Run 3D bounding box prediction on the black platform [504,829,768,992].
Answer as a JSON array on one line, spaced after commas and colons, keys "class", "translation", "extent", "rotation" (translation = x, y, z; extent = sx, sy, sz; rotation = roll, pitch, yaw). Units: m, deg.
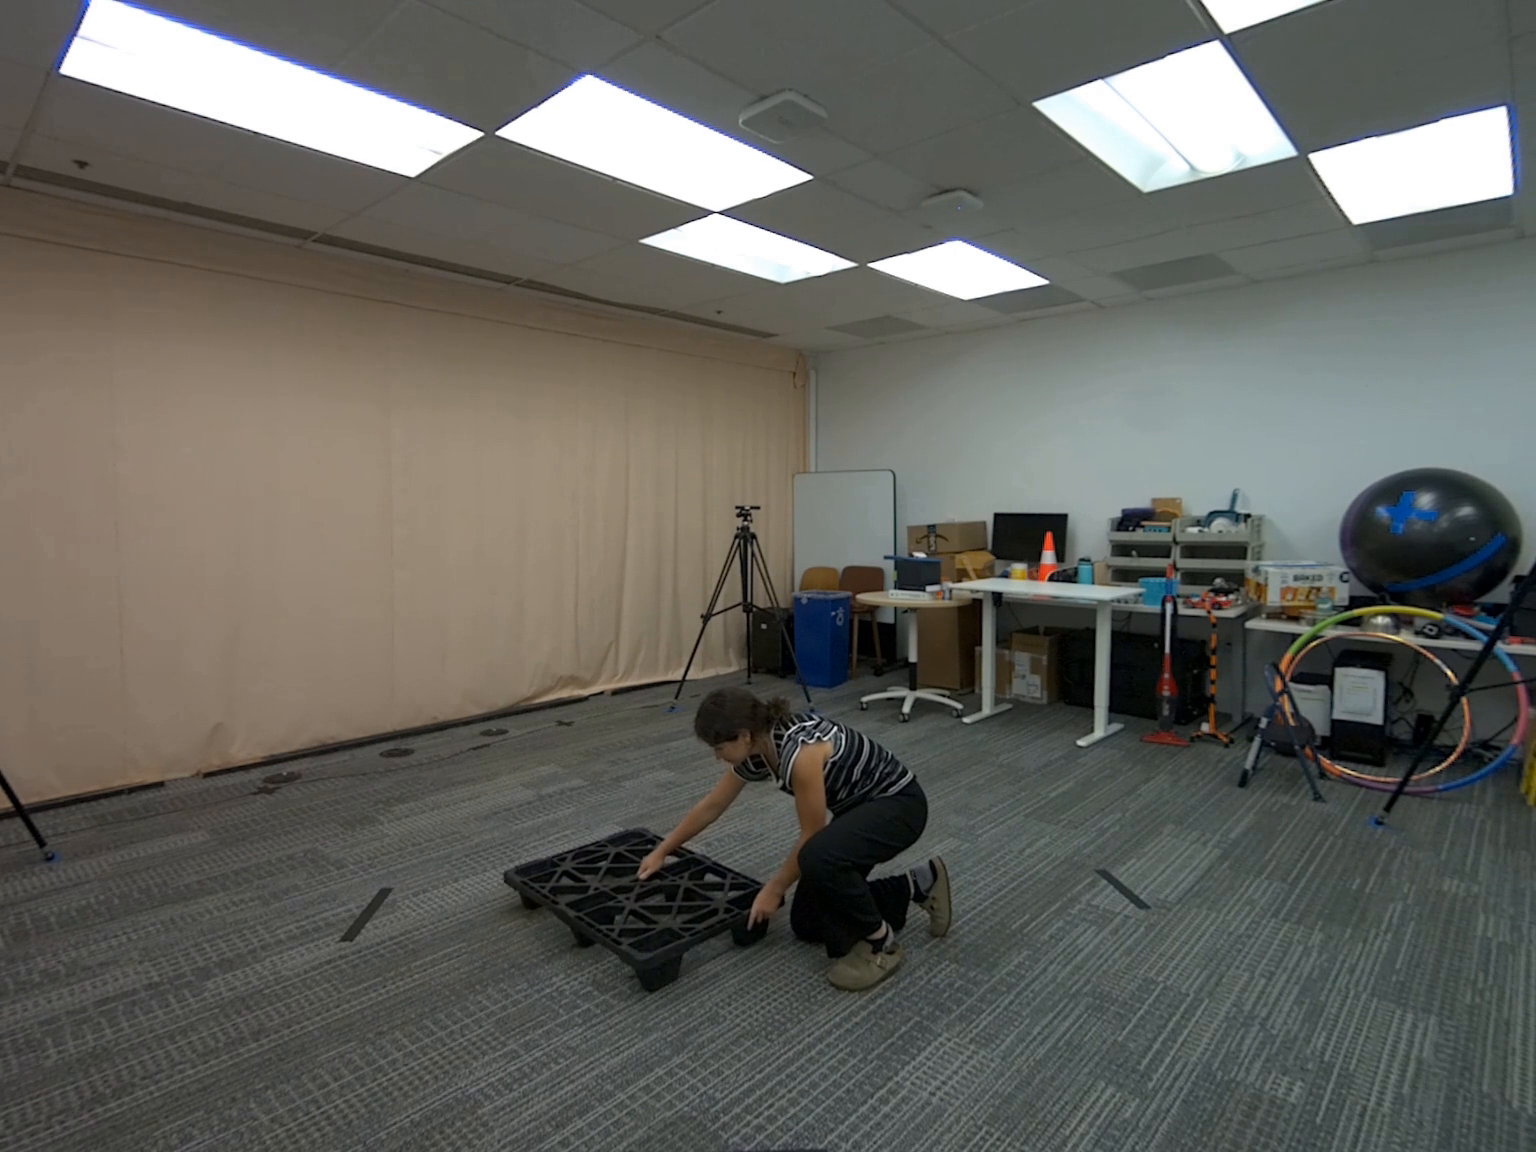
[{"class": "black platform", "translation": [-0.431, 1.093, 2.834], "extent": [0.587, 0.143, 0.832], "rotation": [-5, 6, -43]}]
